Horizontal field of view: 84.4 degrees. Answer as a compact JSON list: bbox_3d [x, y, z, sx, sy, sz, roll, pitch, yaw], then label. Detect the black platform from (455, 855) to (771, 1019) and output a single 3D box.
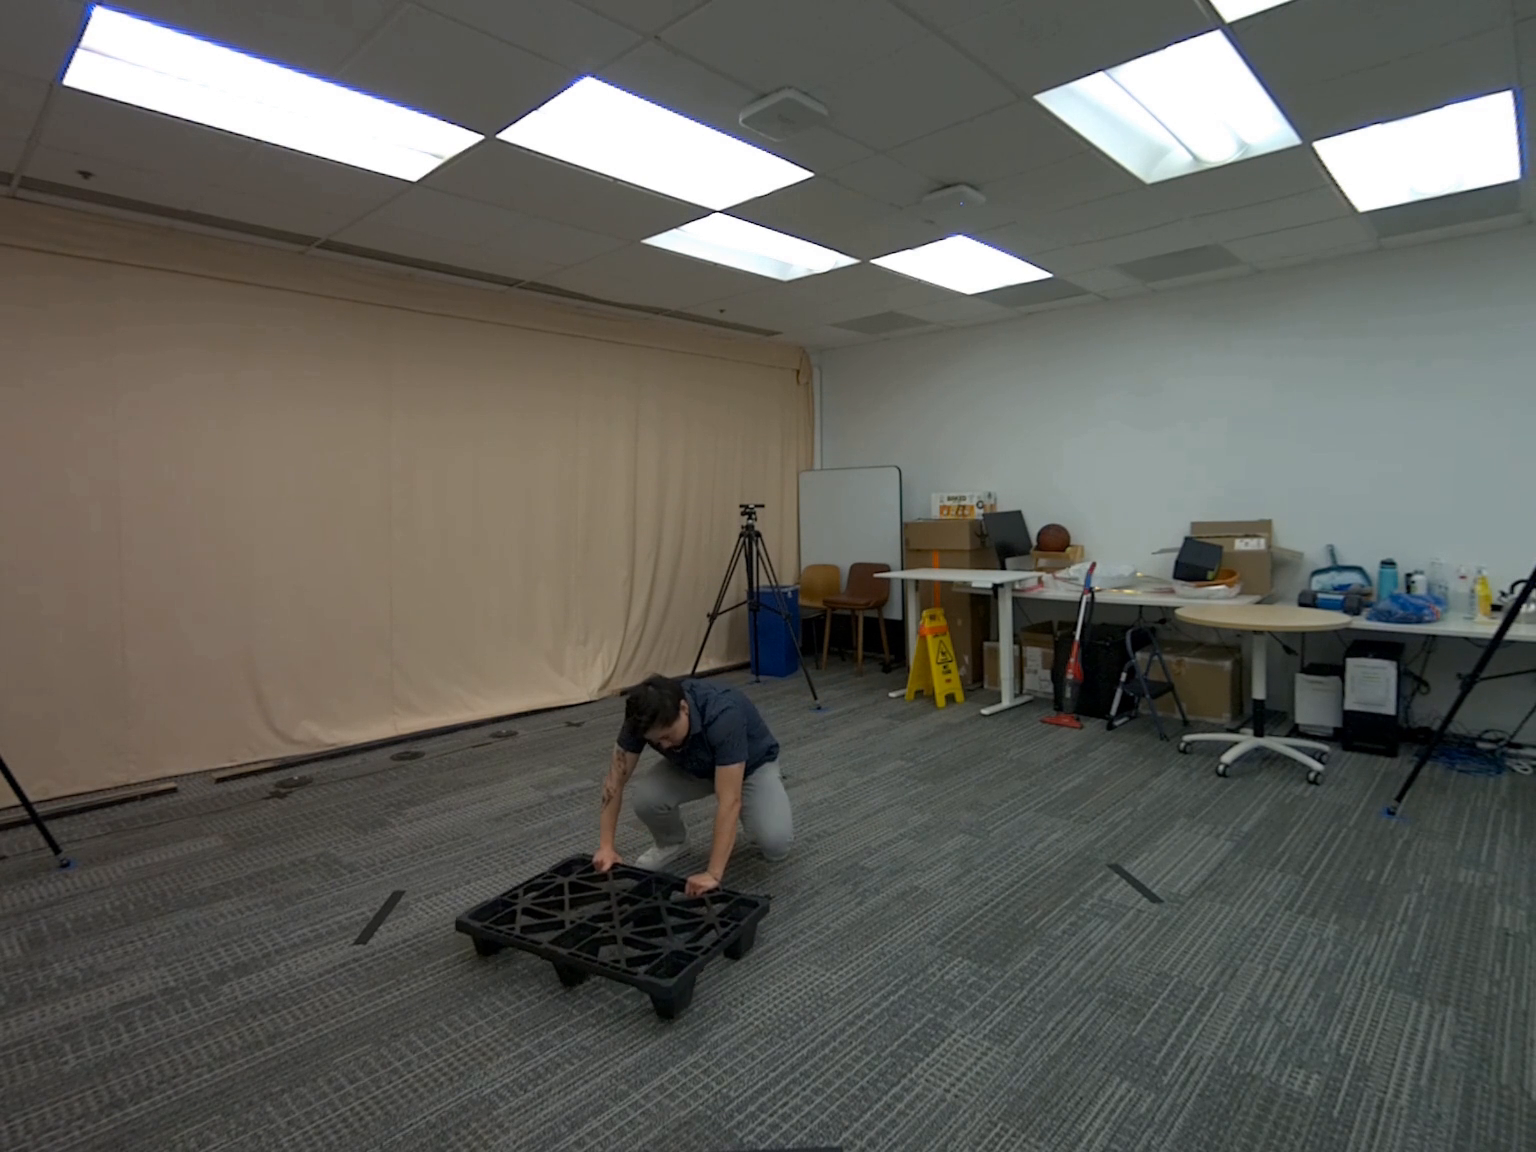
[{"bbox_3d":[-0.475,1.107,2.632,0.828,0.143,0.590,1,5,29],"label":"black platform"}]
